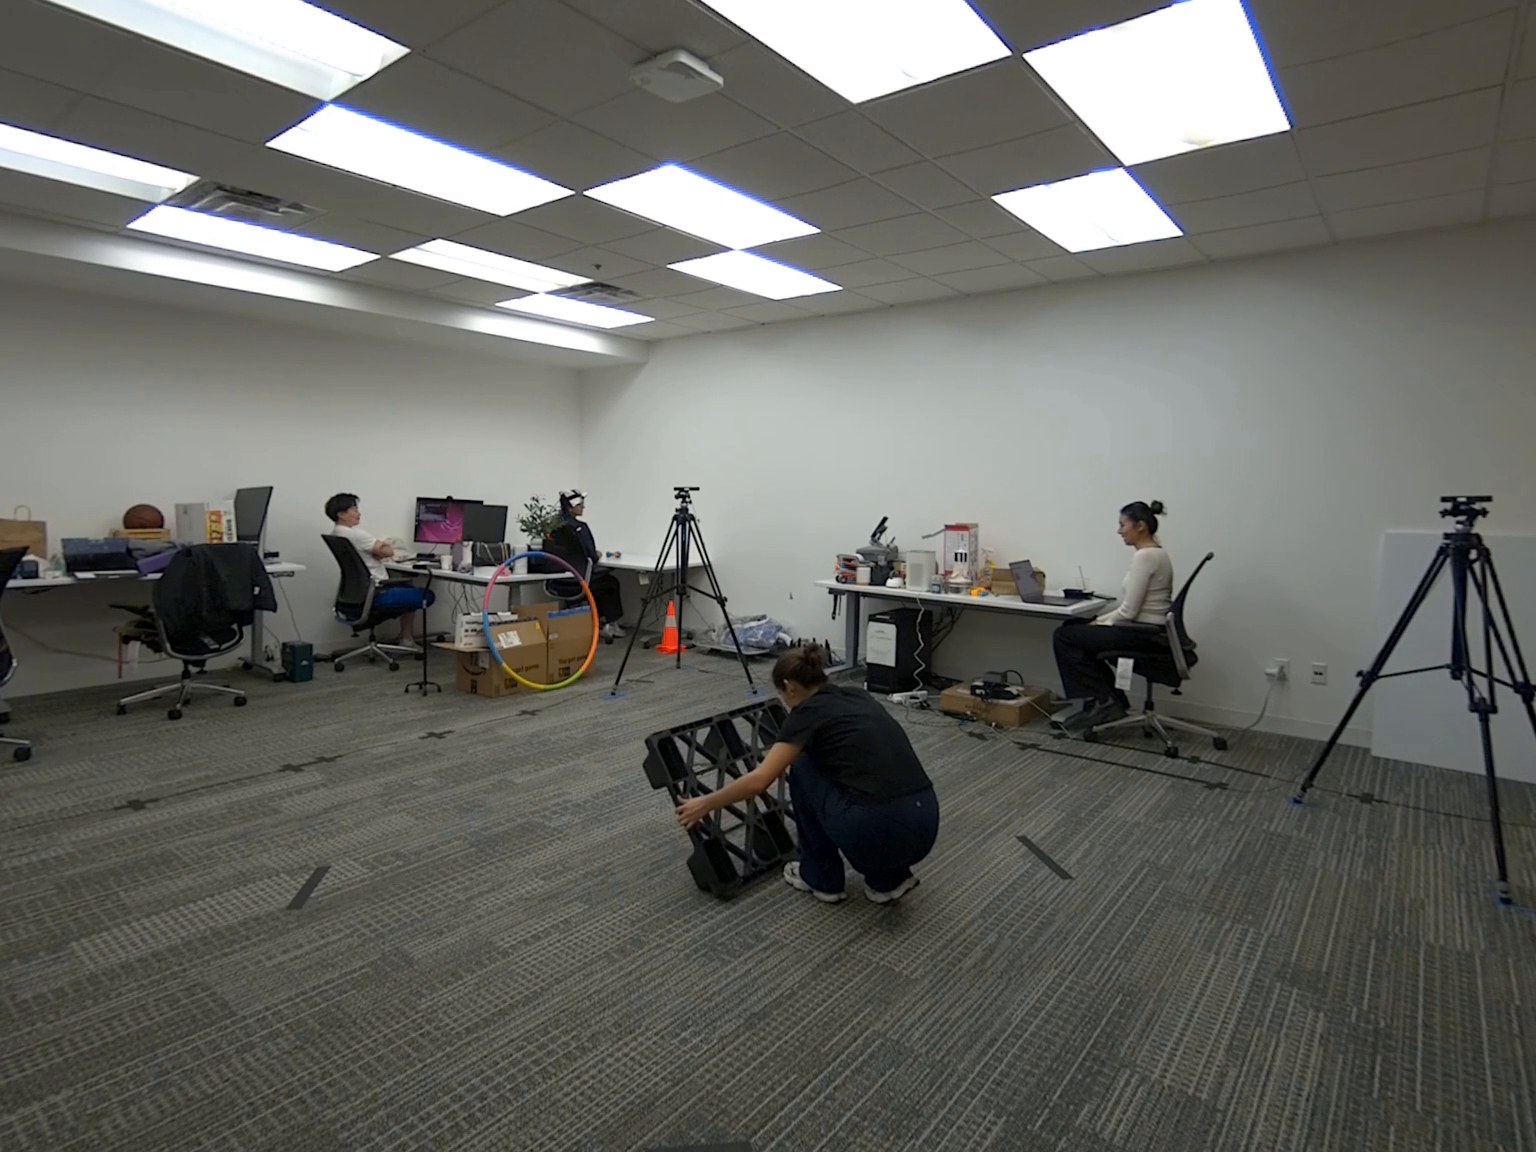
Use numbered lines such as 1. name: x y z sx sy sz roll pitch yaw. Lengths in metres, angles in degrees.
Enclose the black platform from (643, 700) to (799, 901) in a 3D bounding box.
1. black platform: -0.074 0.823 3.281 0.782 0.621 0.144 -5 -31 -51
